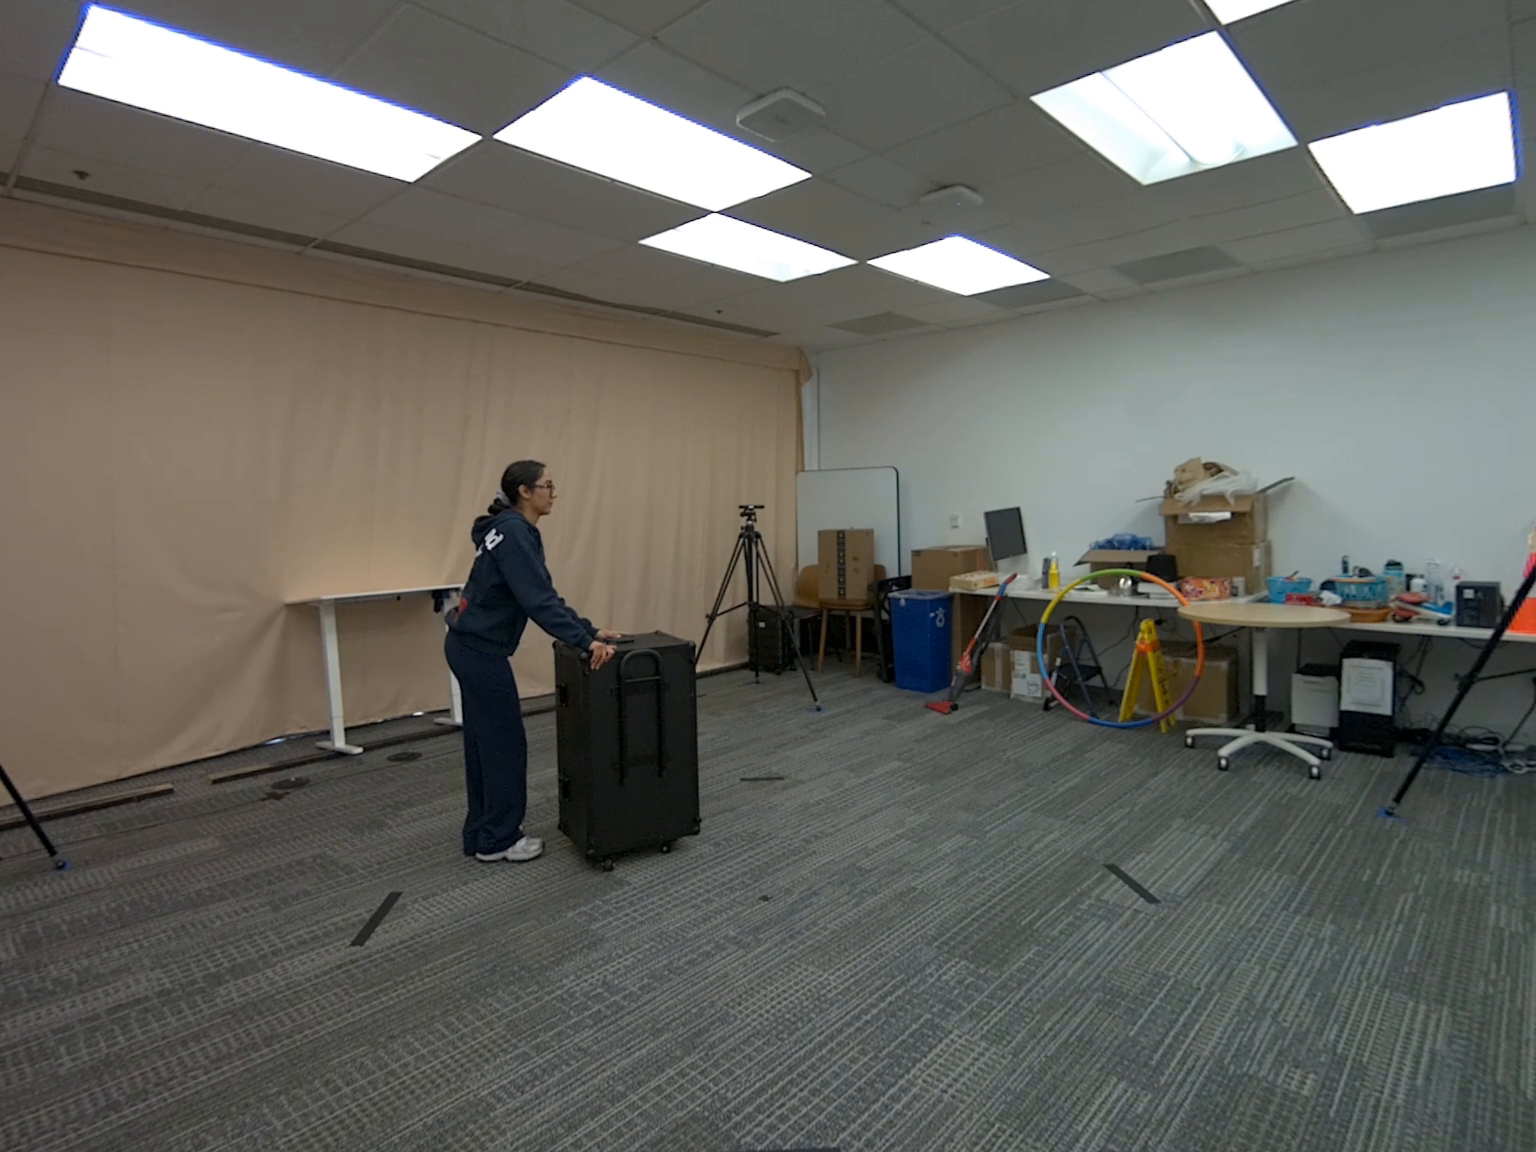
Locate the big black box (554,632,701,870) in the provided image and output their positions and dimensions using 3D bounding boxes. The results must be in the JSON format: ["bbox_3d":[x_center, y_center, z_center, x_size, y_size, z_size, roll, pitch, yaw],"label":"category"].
[{"bbox_3d":[-0.563,0.696,3.423,0.508,0.859,0.407,-3,4,-29],"label":"big black box"}]
